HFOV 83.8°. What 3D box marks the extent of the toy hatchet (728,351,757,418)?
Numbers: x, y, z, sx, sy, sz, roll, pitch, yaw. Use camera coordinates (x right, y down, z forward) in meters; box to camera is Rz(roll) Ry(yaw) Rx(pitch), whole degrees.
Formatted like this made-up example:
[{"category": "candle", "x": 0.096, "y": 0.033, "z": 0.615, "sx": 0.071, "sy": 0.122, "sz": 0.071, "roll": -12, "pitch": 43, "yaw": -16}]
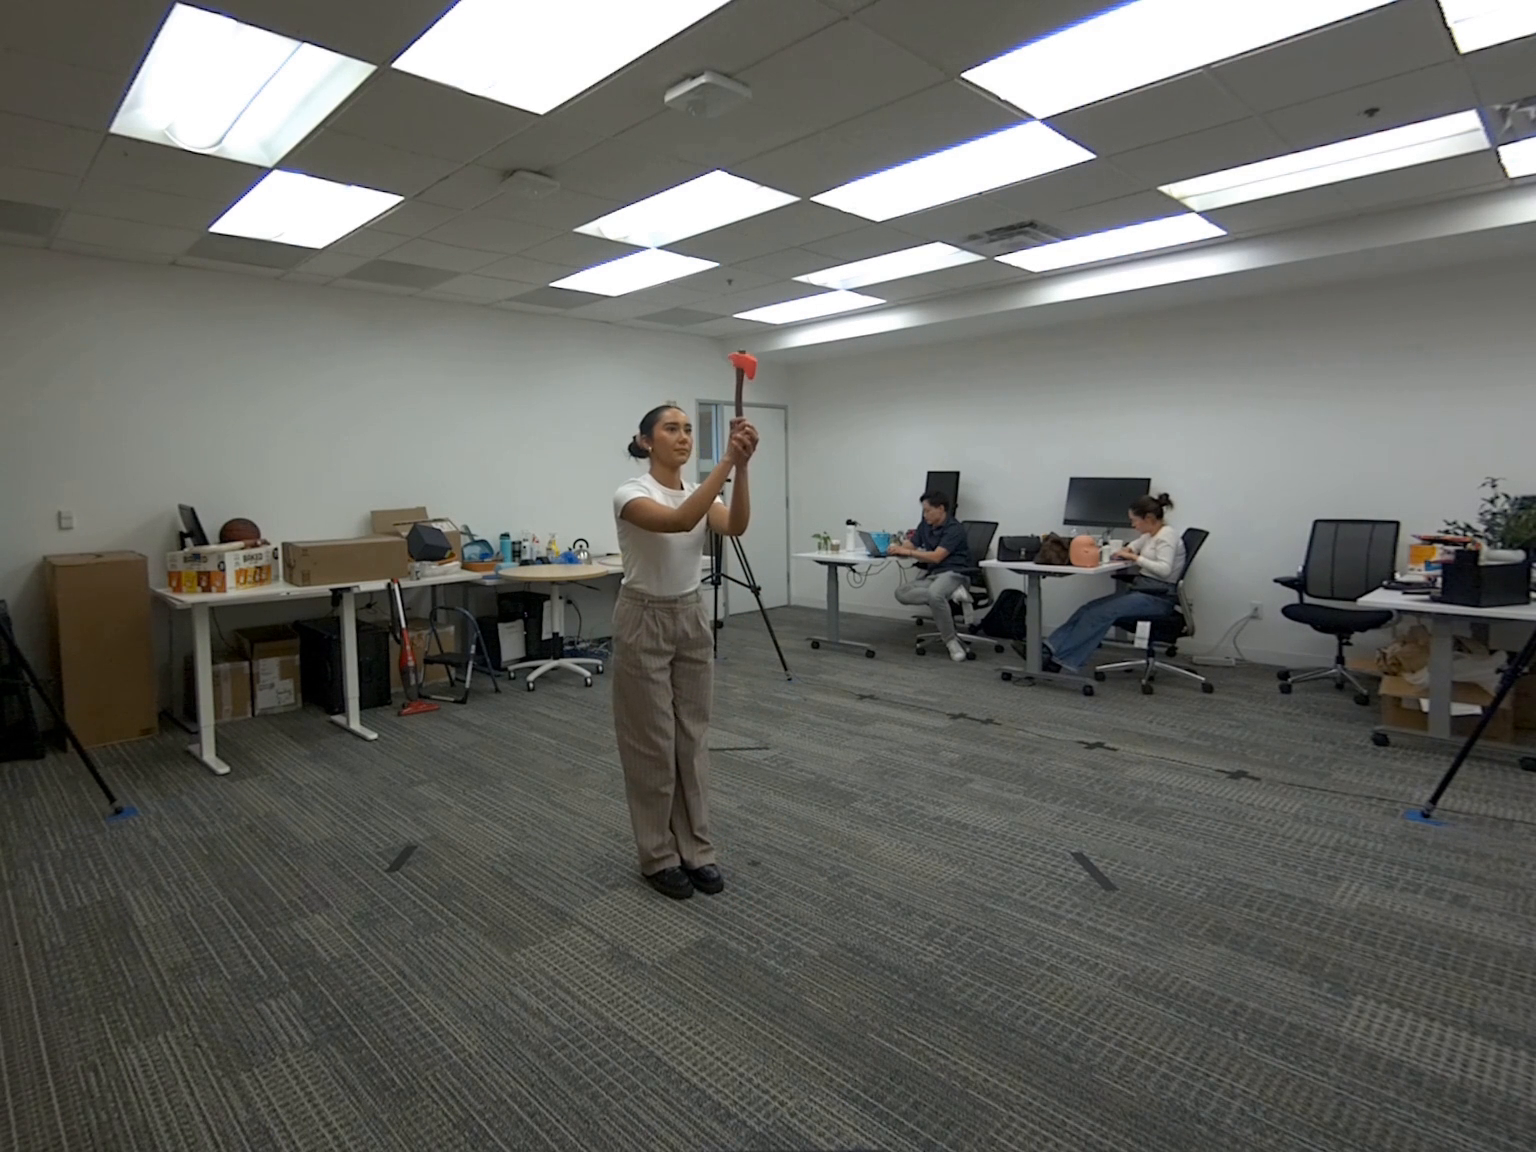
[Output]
[{"category": "toy hatchet", "x": -0.059, "y": -0.536, "z": 2.541, "sx": 0.029, "sy": 0.269, "sz": 0.134, "roll": -11, "pitch": 5, "yaw": -39}]
